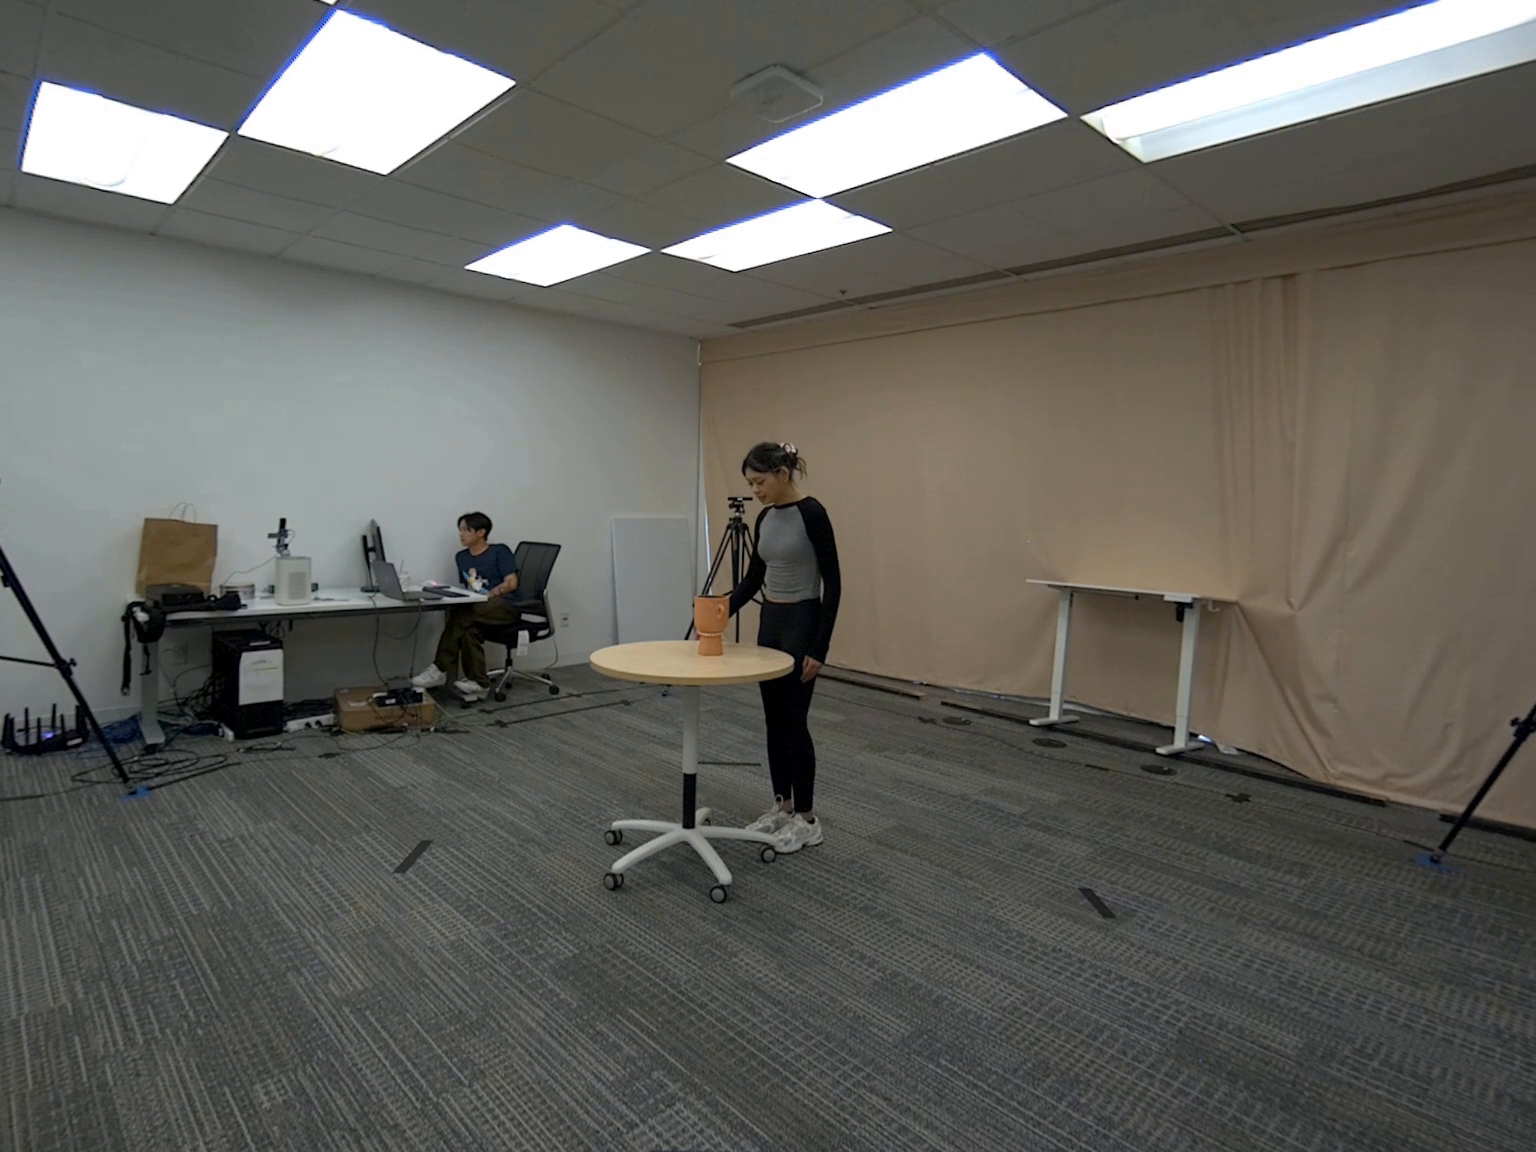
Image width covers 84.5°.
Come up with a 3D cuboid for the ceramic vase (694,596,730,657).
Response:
[{"bbox_3d":[-0.230,0.191,3.245,0.136,0.219,0.158,2,4,9],"label":"ceramic vase"}]
